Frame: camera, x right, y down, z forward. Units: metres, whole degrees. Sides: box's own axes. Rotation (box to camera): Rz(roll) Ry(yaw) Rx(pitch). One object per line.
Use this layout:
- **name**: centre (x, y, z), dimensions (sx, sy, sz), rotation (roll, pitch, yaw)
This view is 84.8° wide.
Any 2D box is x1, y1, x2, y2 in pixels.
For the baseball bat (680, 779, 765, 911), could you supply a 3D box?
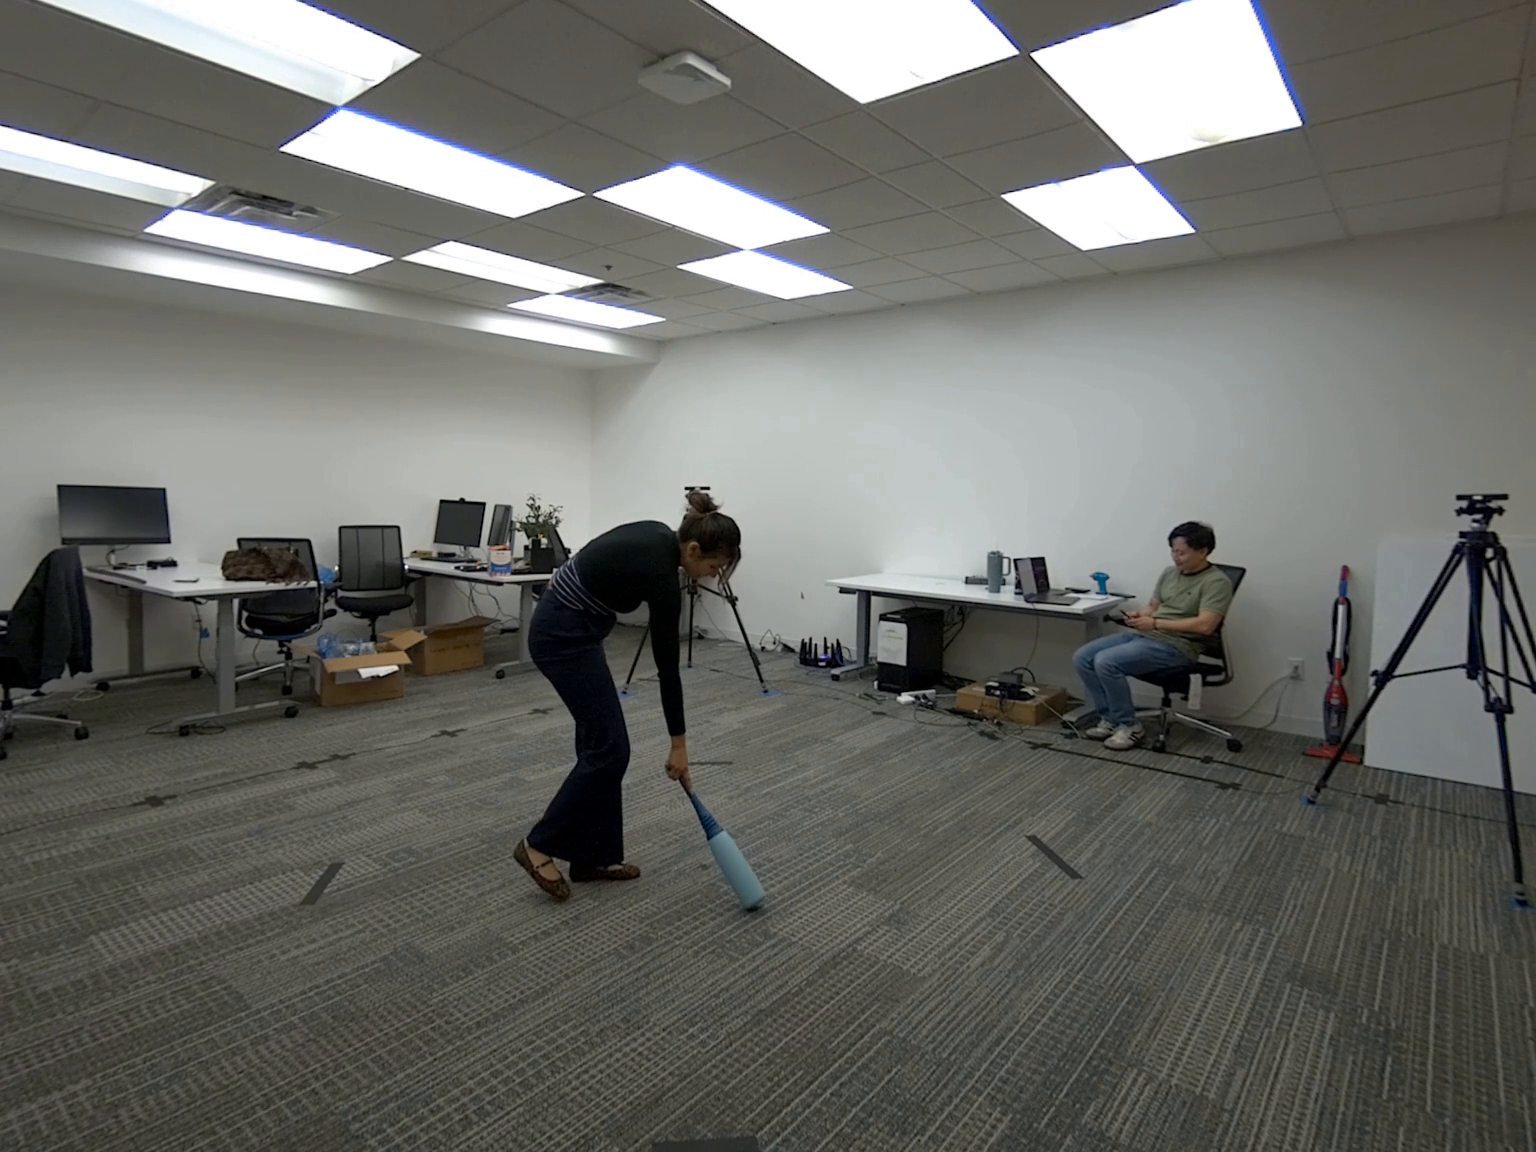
- **baseball bat**: centre (-0.203, 0.871, 2.877), dimensions (0.088, 0.558, 0.087), rotation (-30, -20, -13)
